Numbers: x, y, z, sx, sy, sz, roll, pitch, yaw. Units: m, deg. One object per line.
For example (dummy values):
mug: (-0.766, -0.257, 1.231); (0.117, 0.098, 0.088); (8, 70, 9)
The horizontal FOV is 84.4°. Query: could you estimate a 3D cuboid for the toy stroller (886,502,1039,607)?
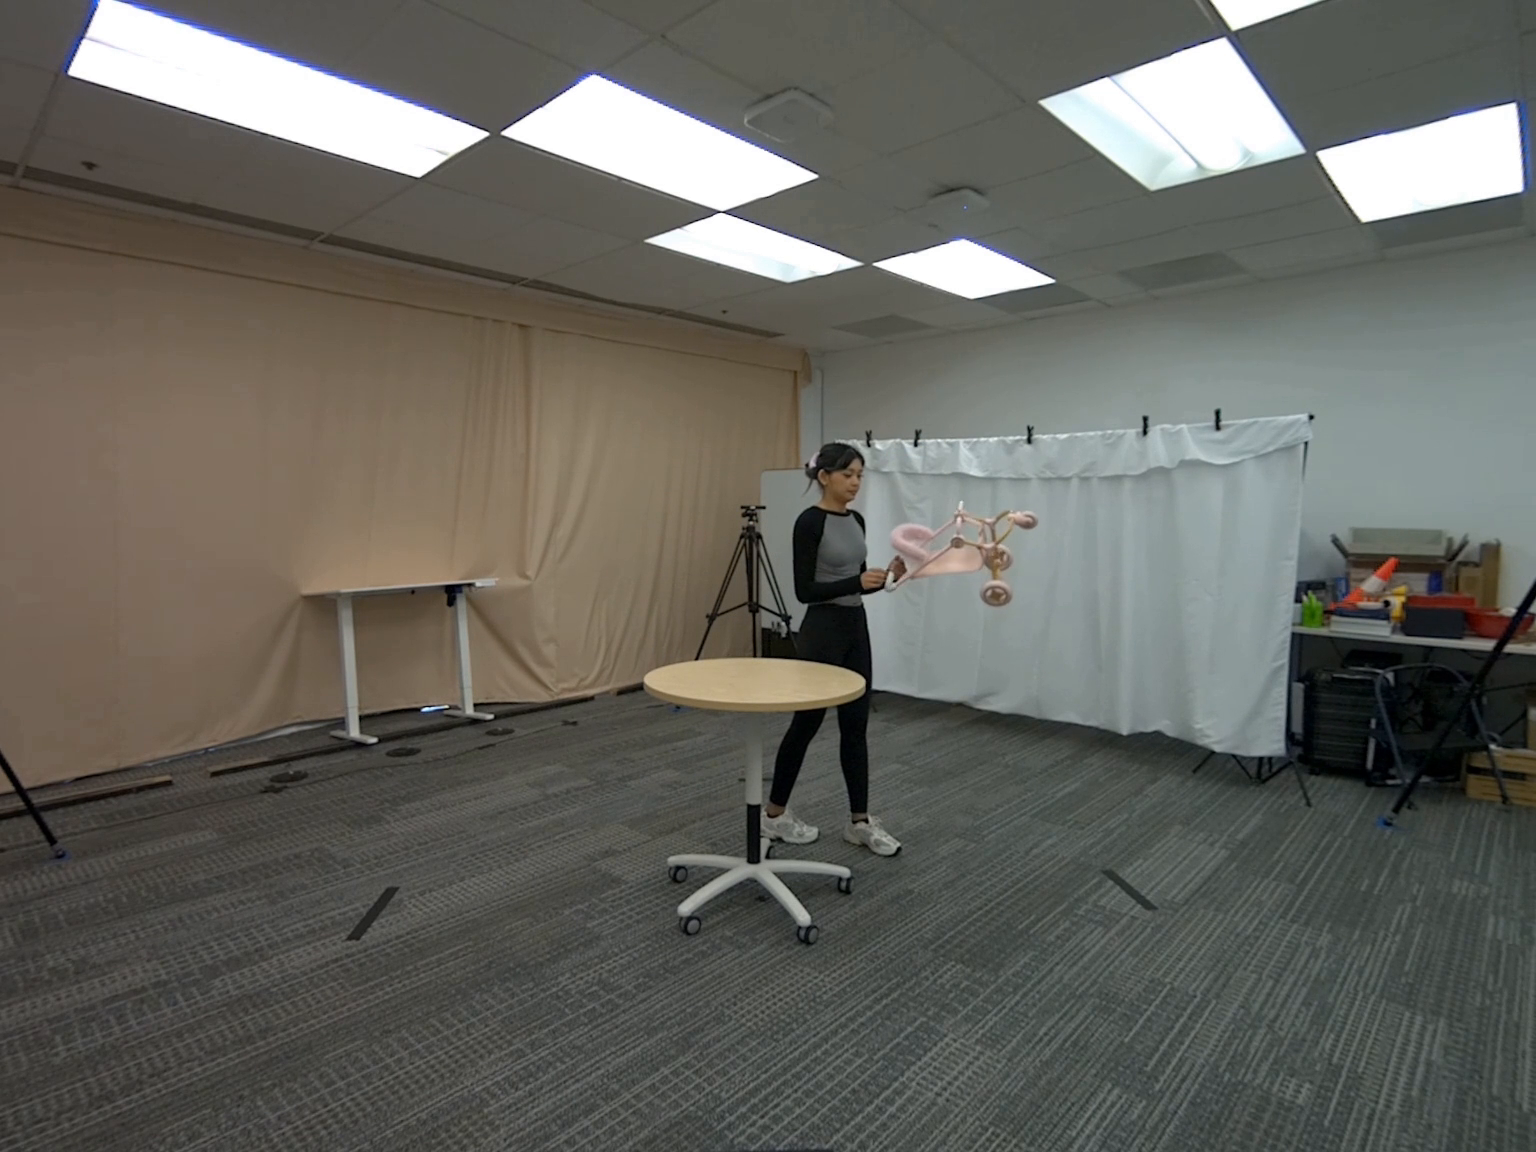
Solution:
toy stroller: (0.702, -0.101, 3.072); (0.546, 0.334, 0.282); (4, 37, 19)
